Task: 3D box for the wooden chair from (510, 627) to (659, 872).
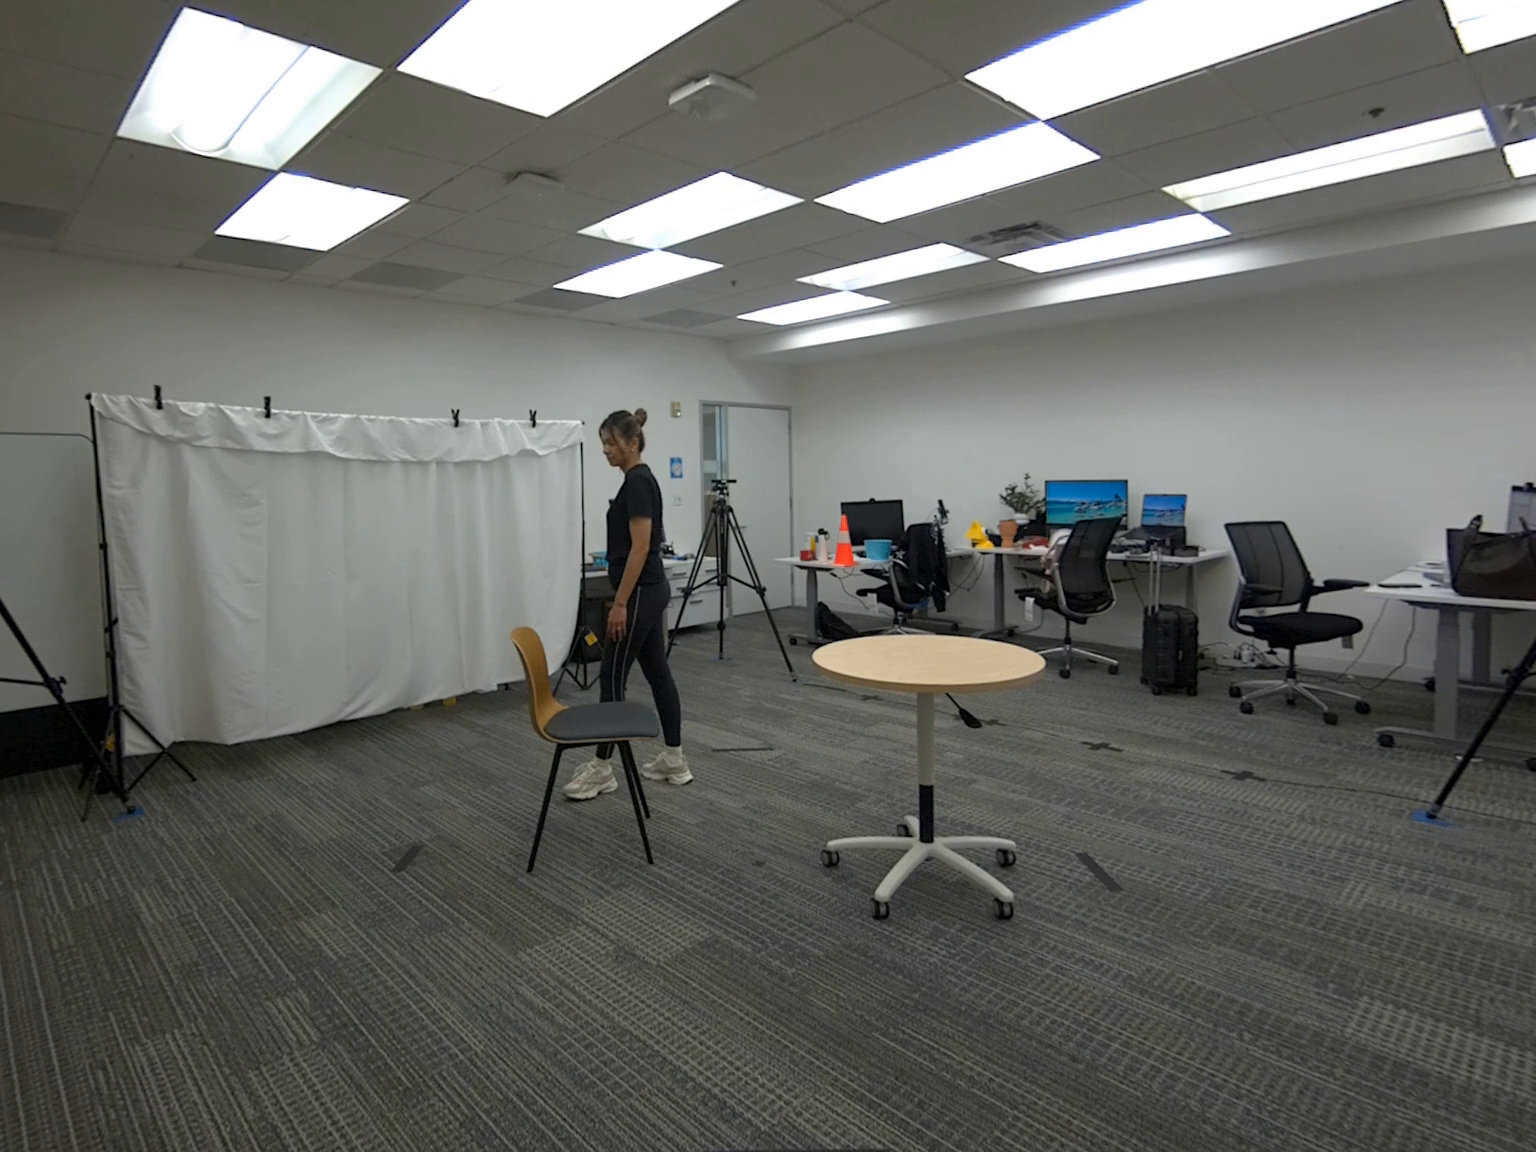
[{"bbox_3d":[-0.680,0.613,3.288,0.520,0.874,0.483,-6,4,-8],"label":"wooden chair"}]
